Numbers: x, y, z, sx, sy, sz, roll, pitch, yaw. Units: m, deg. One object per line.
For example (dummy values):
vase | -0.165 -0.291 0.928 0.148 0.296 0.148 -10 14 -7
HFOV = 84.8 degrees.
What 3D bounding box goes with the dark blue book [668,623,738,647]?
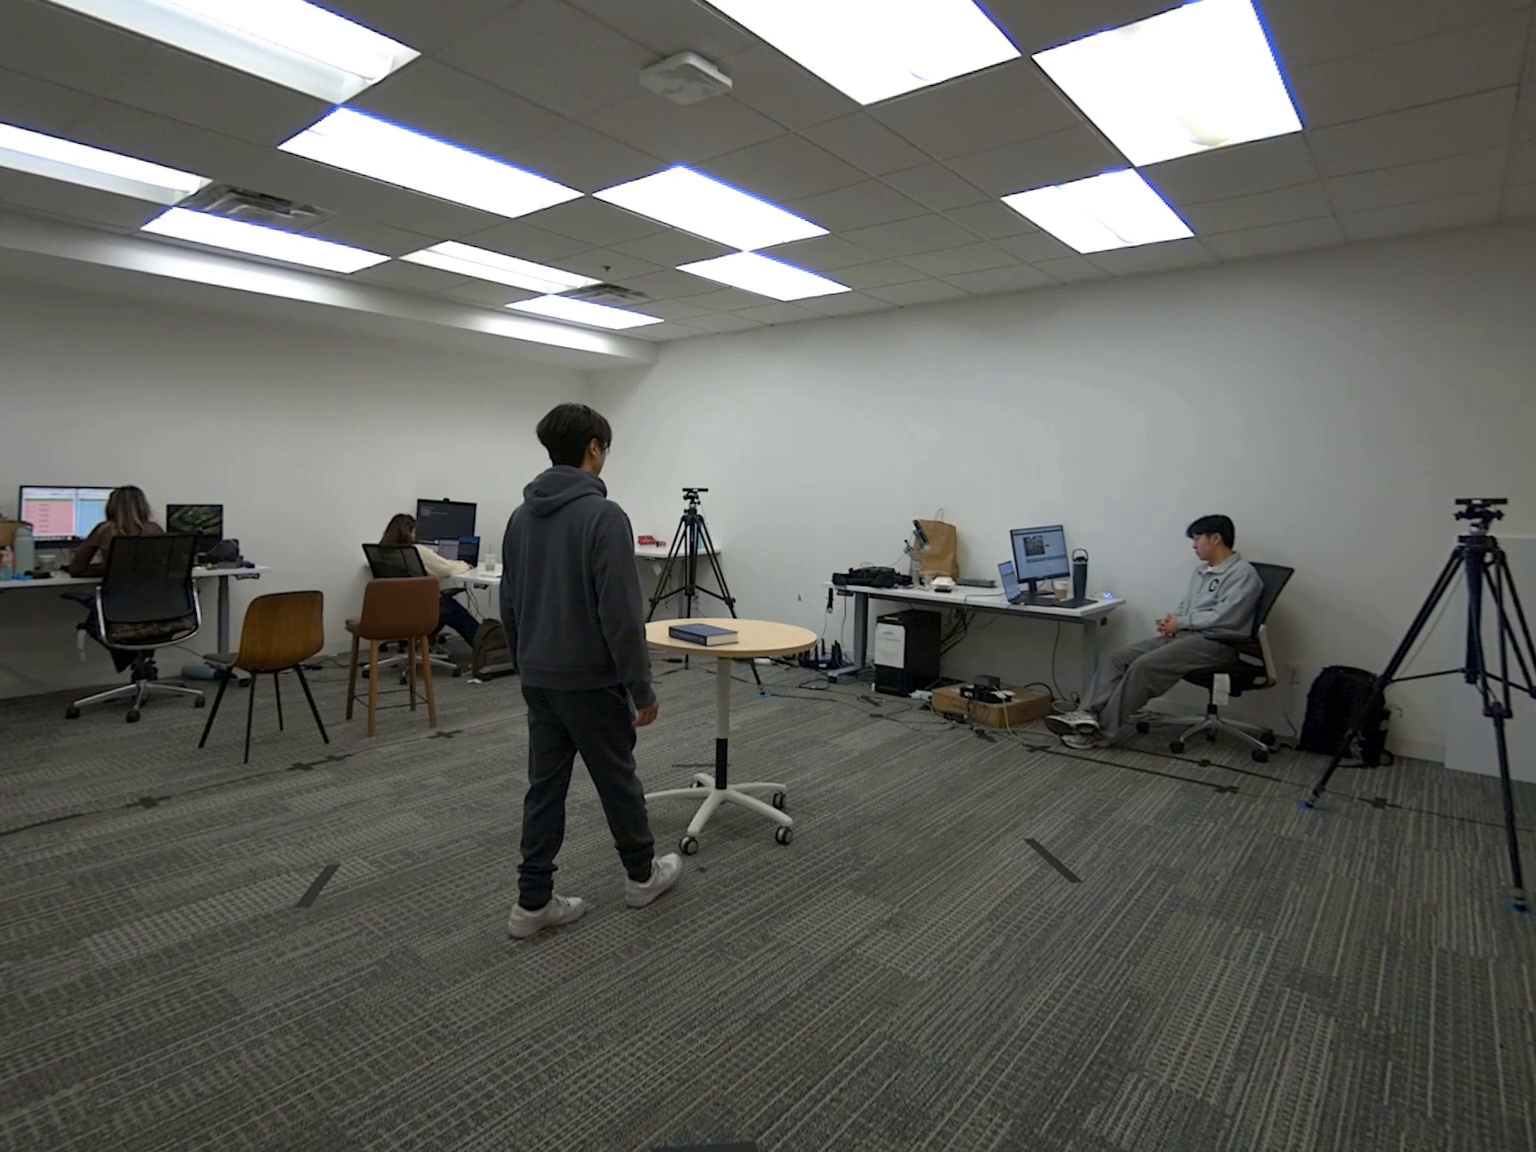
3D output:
dark blue book | -0.261 0.231 3.353 0.158 0.045 0.253 -3 7 -42
